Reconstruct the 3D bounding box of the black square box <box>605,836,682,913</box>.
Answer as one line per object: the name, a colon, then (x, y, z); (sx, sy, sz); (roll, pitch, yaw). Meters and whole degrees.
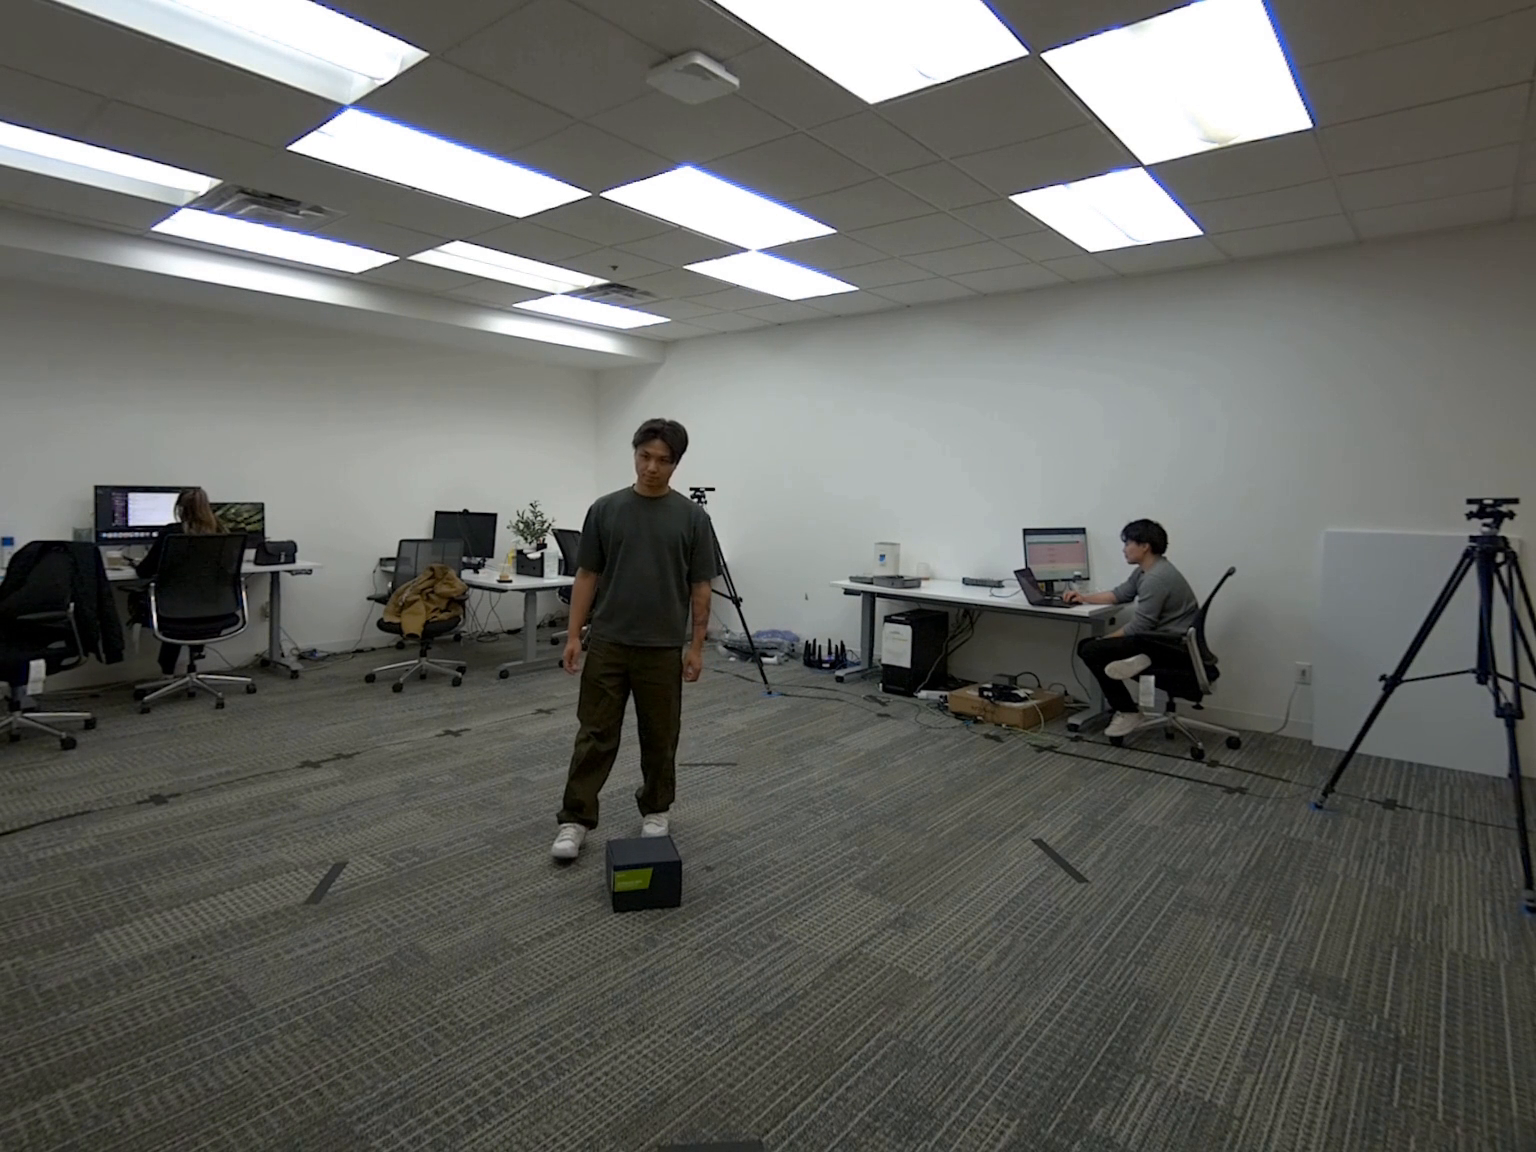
black square box: (-0.435, 0.997, 2.887); (0.224, 0.155, 0.221); (0, 5, -16)
